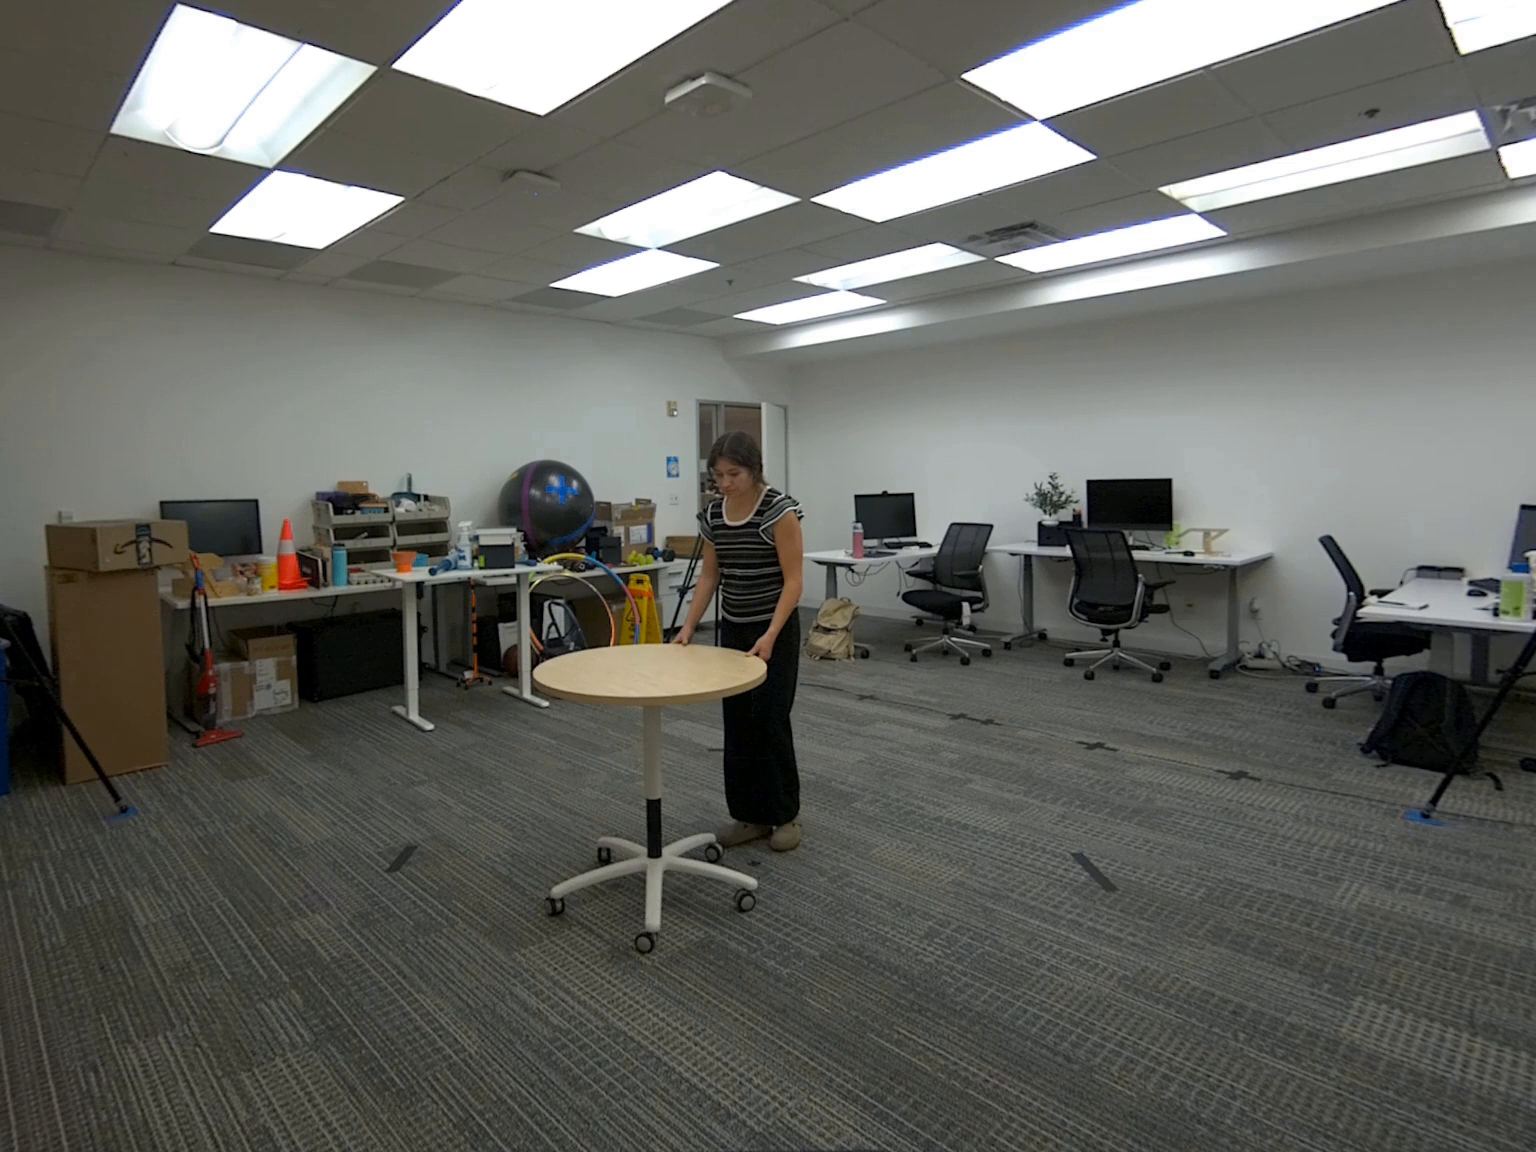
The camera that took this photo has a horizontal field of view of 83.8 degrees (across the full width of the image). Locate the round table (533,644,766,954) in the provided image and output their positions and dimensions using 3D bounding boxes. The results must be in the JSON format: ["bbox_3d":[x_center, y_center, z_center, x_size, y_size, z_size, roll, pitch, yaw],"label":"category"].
[{"bbox_3d":[-0.369,0.683,2.859,0.784,0.783,0.789,-1,5,-2],"label":"round table"}]
